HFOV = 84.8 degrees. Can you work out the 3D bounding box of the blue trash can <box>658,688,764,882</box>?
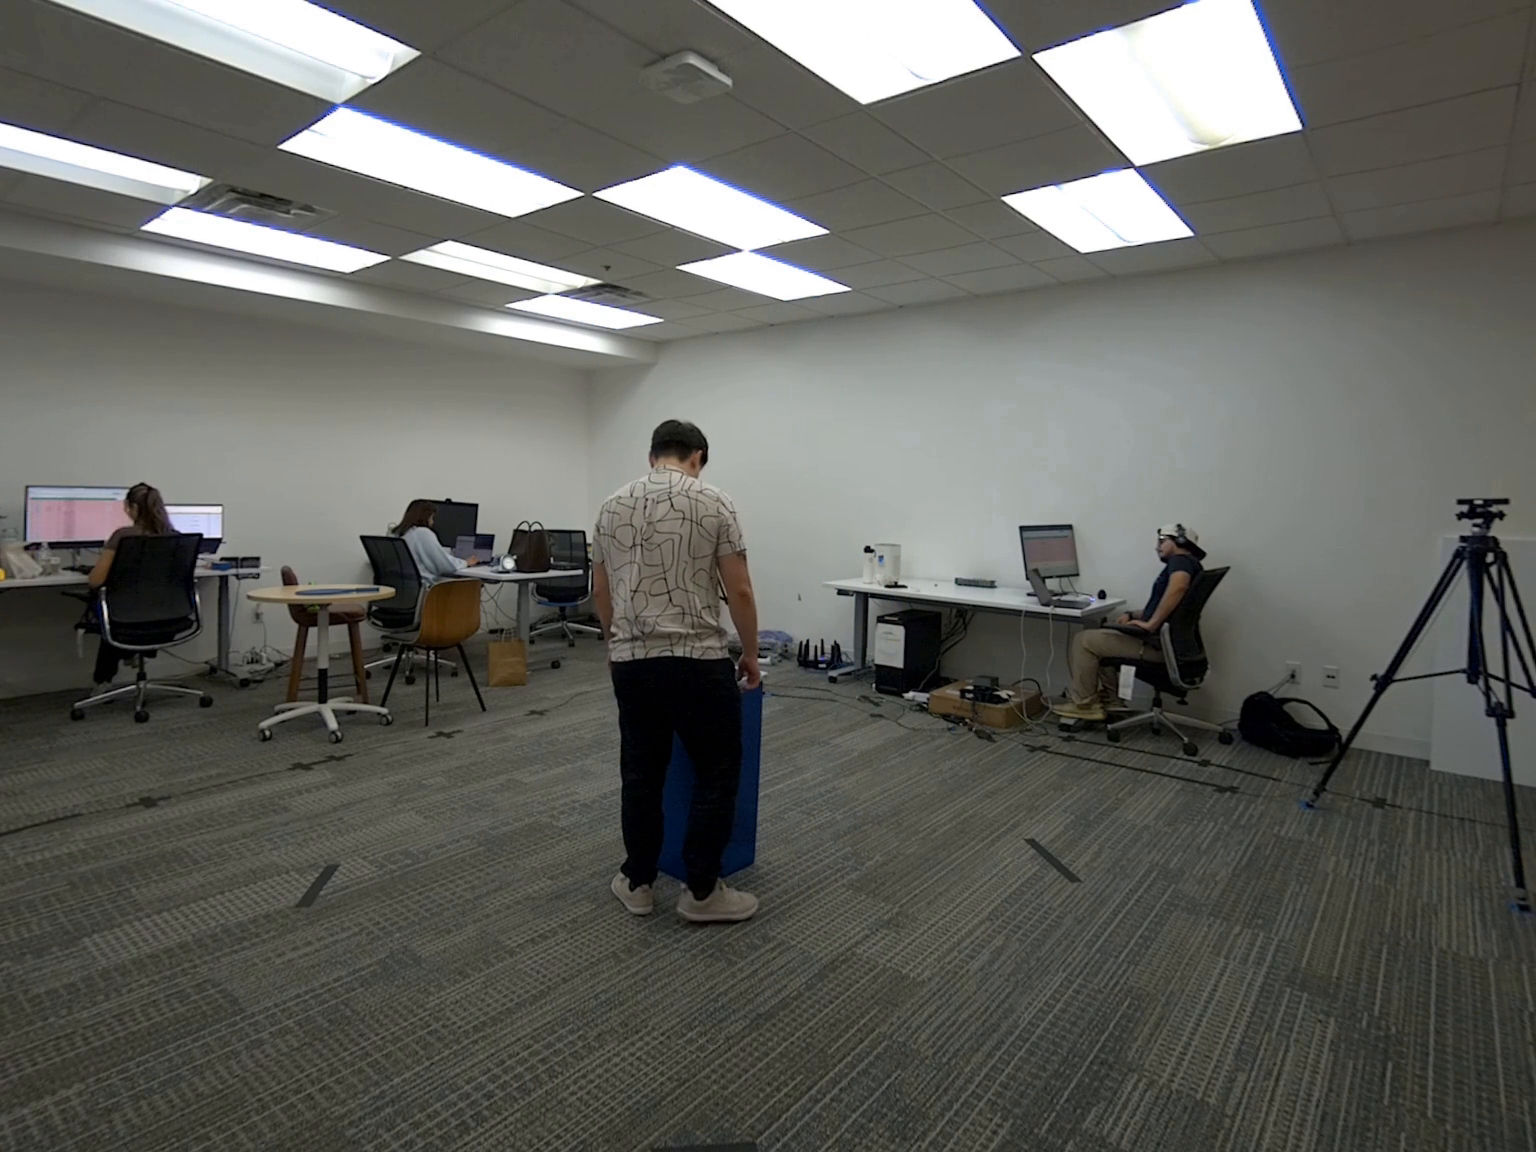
[{"bbox_3d":[-0.258,0.704,3.155,0.391,0.712,0.363,3,4,41],"label":"blue trash can"}]
